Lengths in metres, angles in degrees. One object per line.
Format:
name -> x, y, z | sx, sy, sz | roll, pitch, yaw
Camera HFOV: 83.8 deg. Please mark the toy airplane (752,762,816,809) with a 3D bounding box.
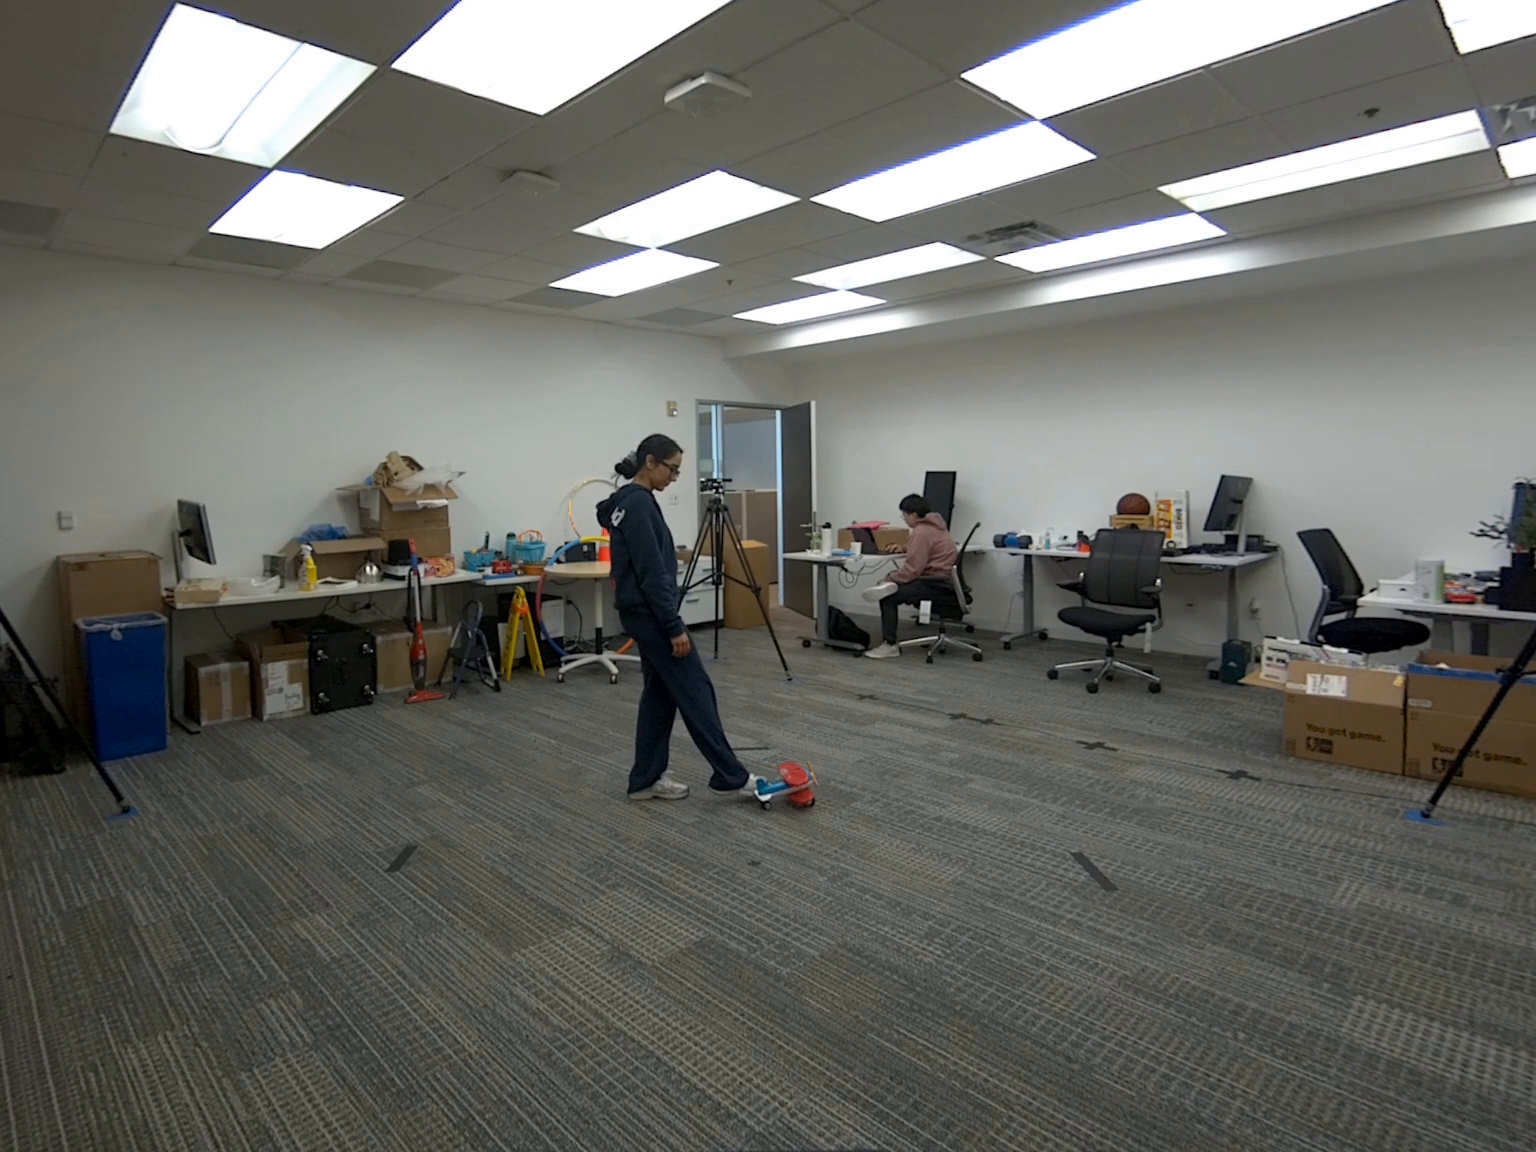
toy airplane -> 0.087, 0.908, 3.630 | 0.252, 0.156, 0.259 | -4, 6, -42
